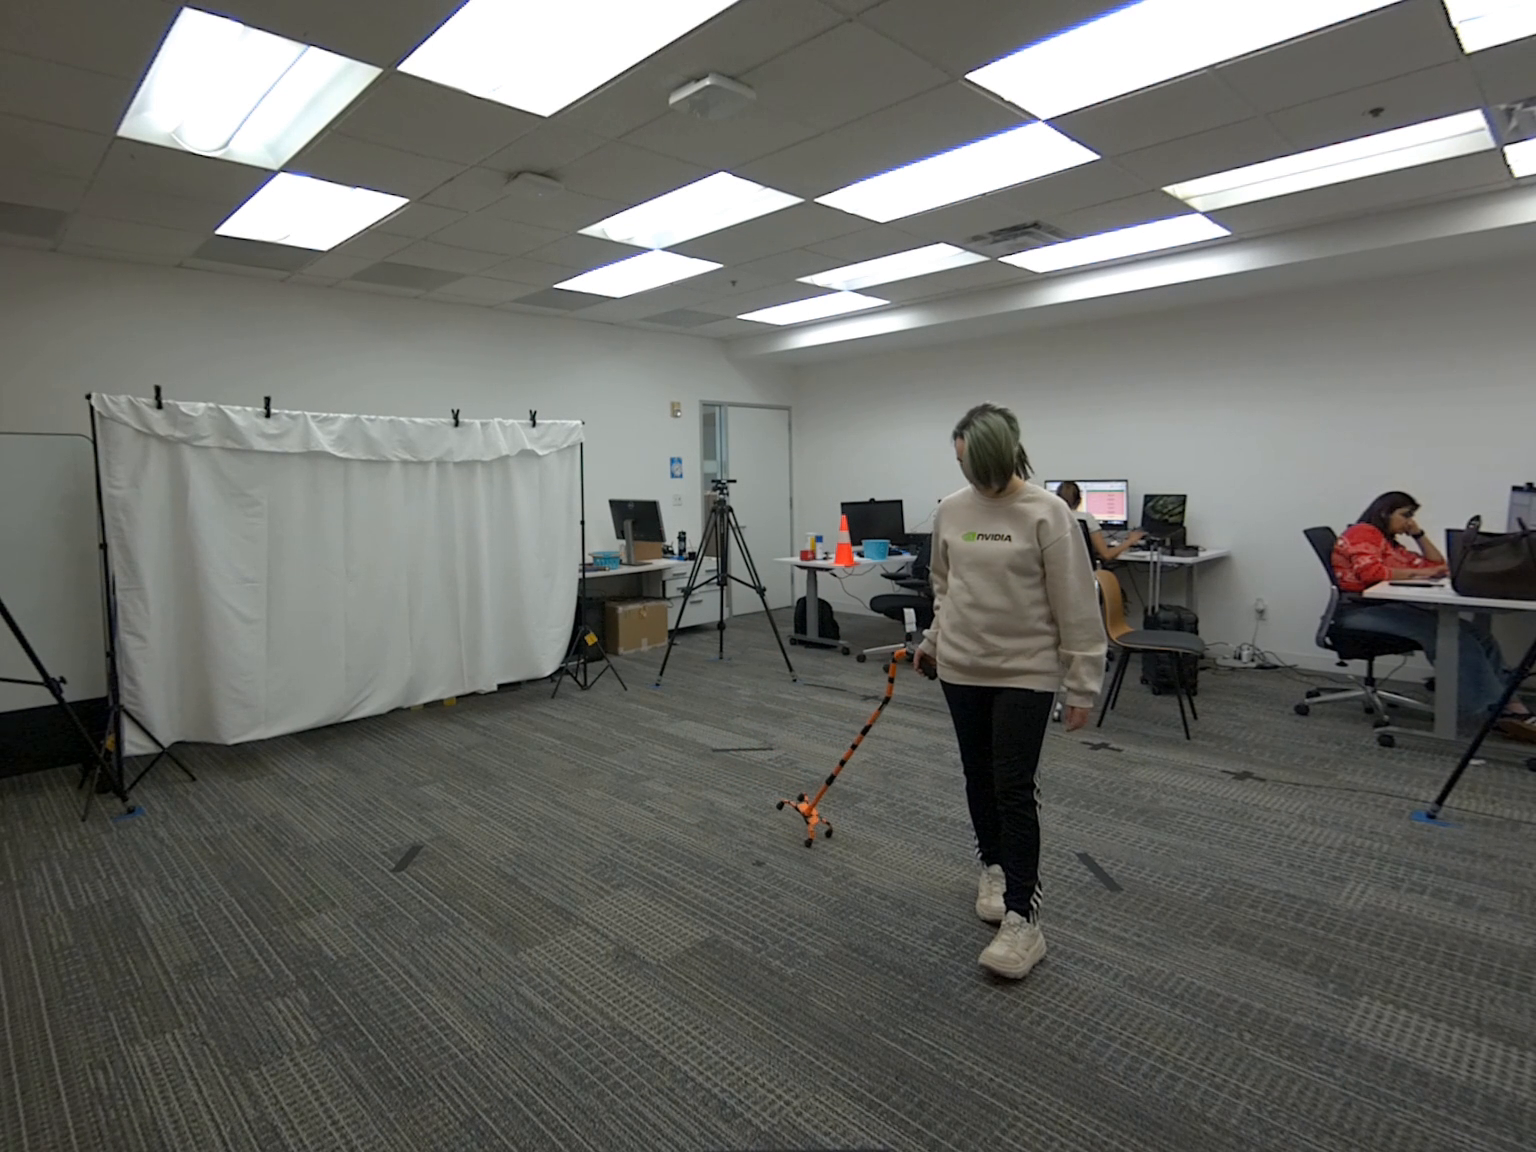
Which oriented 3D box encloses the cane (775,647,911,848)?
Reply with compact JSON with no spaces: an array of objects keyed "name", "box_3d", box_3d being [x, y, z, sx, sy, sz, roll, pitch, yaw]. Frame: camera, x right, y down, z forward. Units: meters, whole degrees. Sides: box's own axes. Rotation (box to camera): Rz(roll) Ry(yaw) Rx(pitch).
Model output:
[{"name":"cane","box_3d":[0.327,0.617,3.123,0.147,0.899,0.214,-3,41,-44]}]
